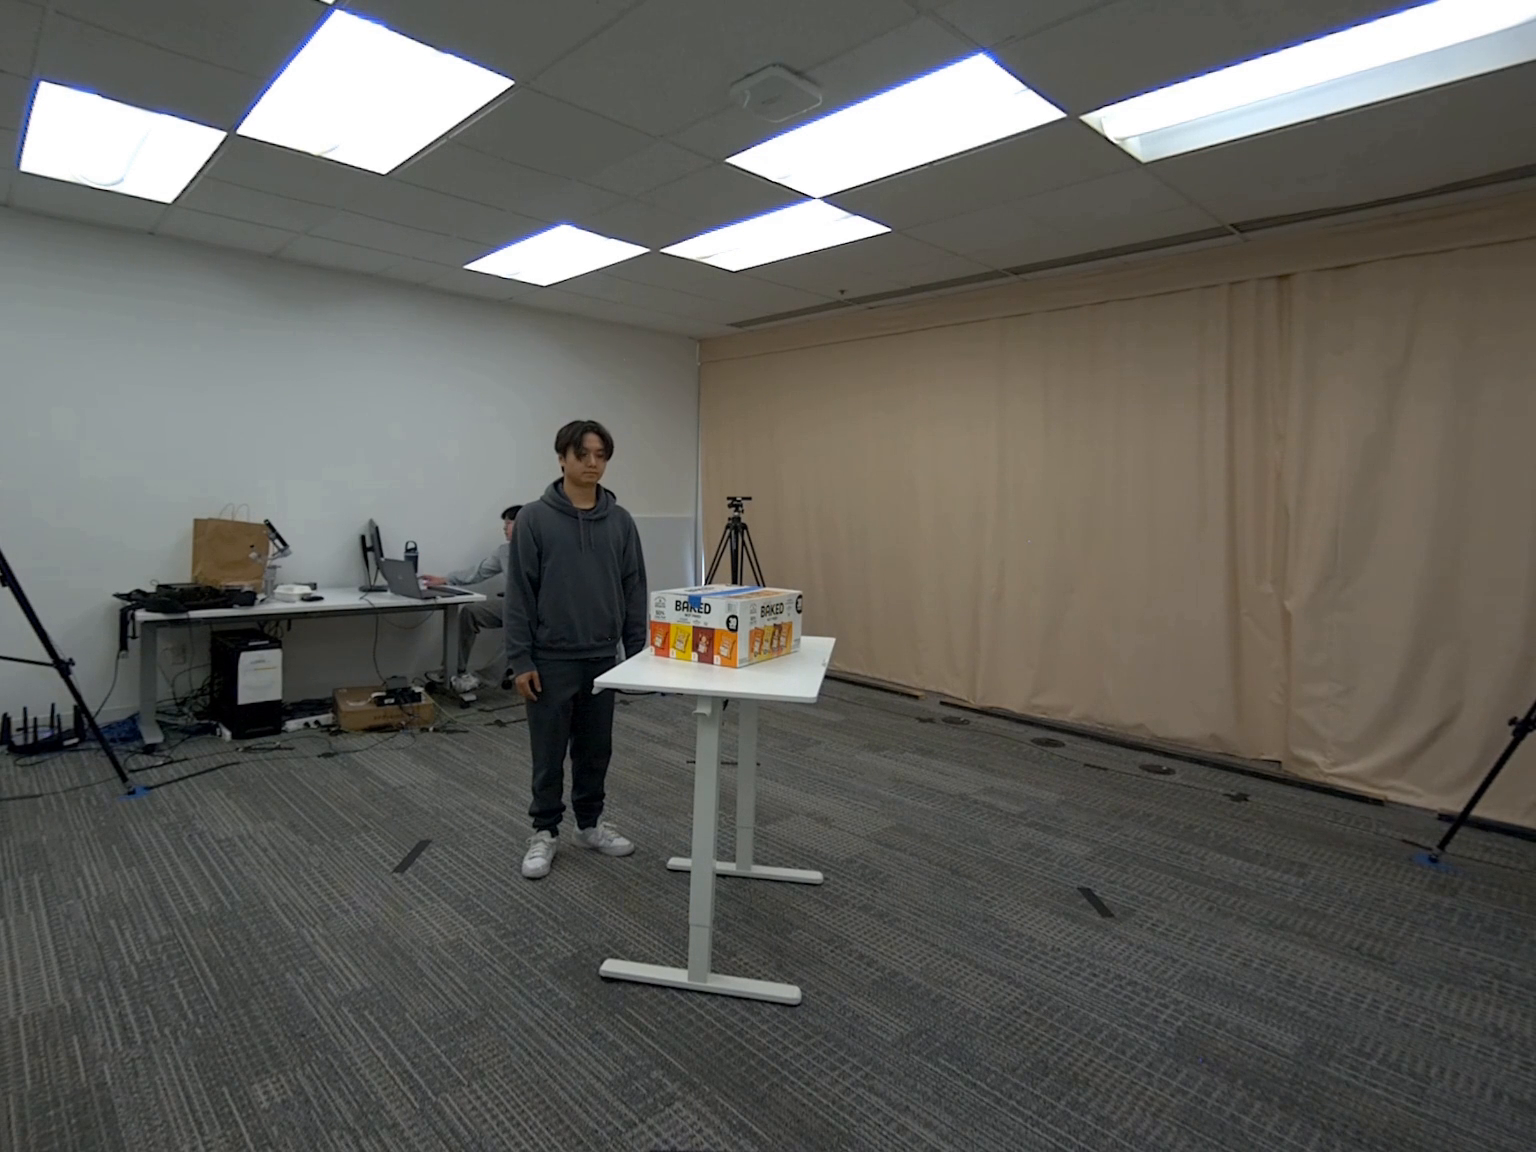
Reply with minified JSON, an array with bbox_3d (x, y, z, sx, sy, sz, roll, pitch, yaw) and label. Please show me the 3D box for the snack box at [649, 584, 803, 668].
[{"bbox_3d":[-0.139,0.154,2.759,0.348,0.205,0.397,5,5,31],"label":"snack box"}]
